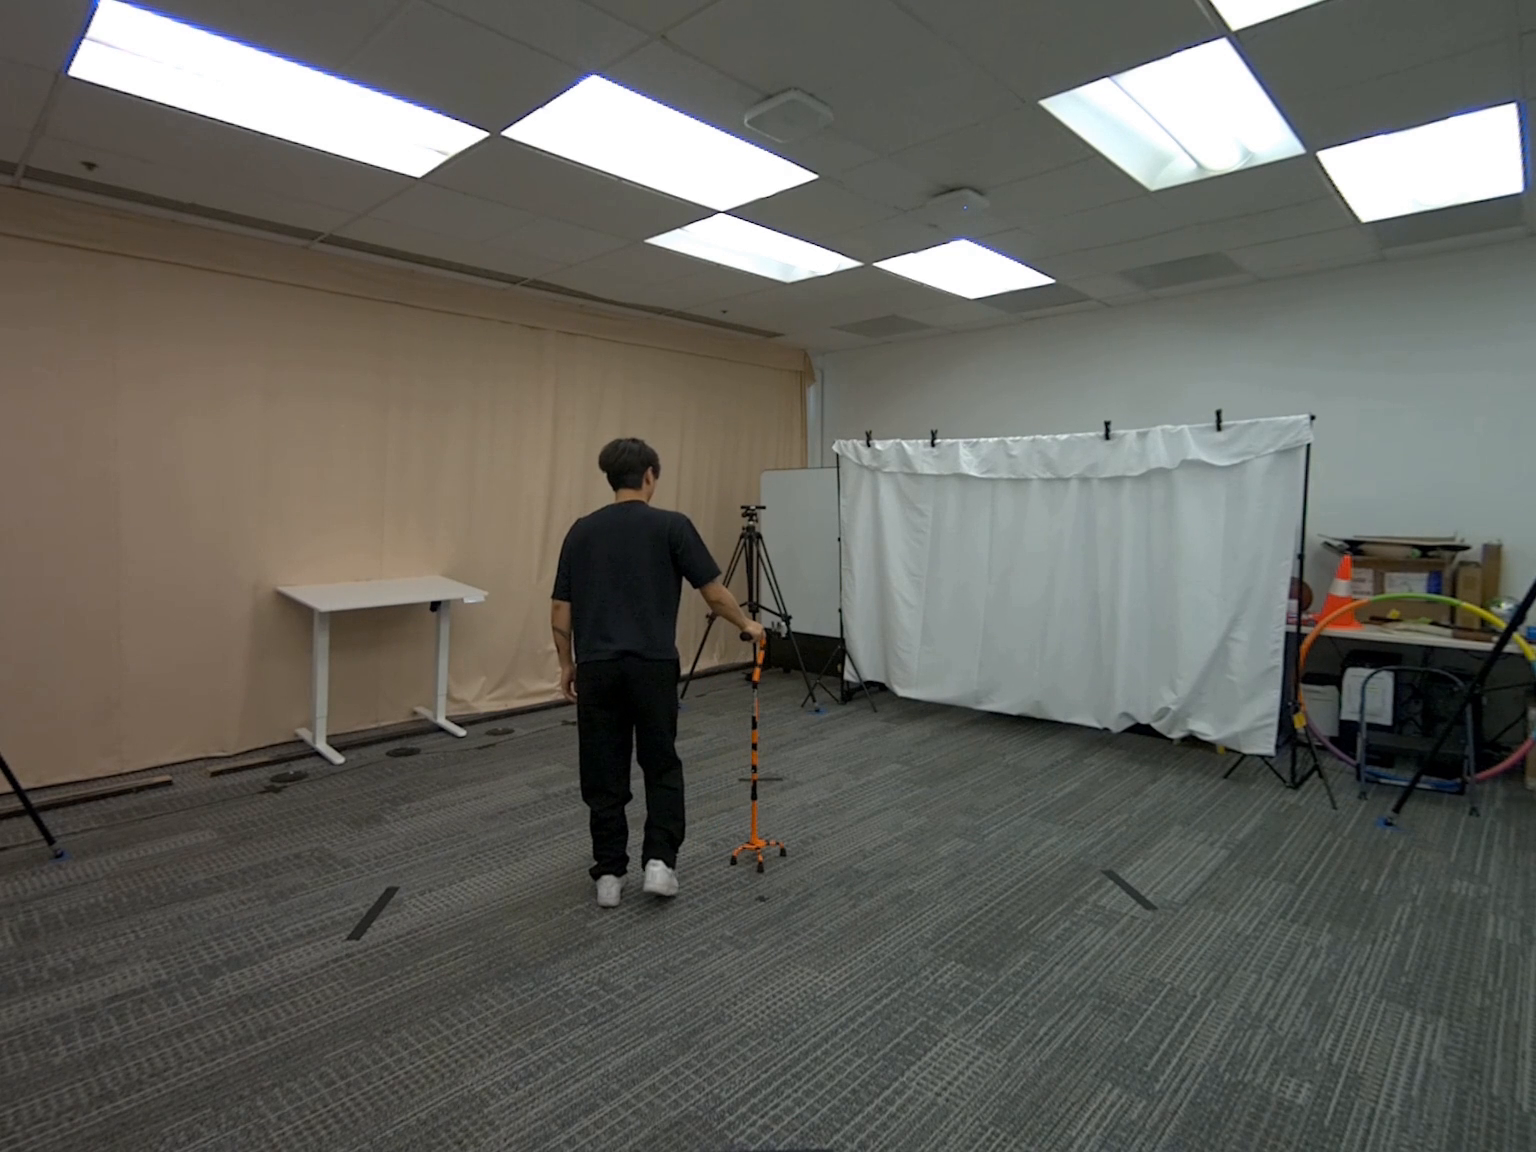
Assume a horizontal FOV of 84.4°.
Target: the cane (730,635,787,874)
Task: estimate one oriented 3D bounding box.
[{"bbox_3d":[-0.036,0.665,3.285,0.156,0.906,0.201,2,3,30],"label":"cane"}]
